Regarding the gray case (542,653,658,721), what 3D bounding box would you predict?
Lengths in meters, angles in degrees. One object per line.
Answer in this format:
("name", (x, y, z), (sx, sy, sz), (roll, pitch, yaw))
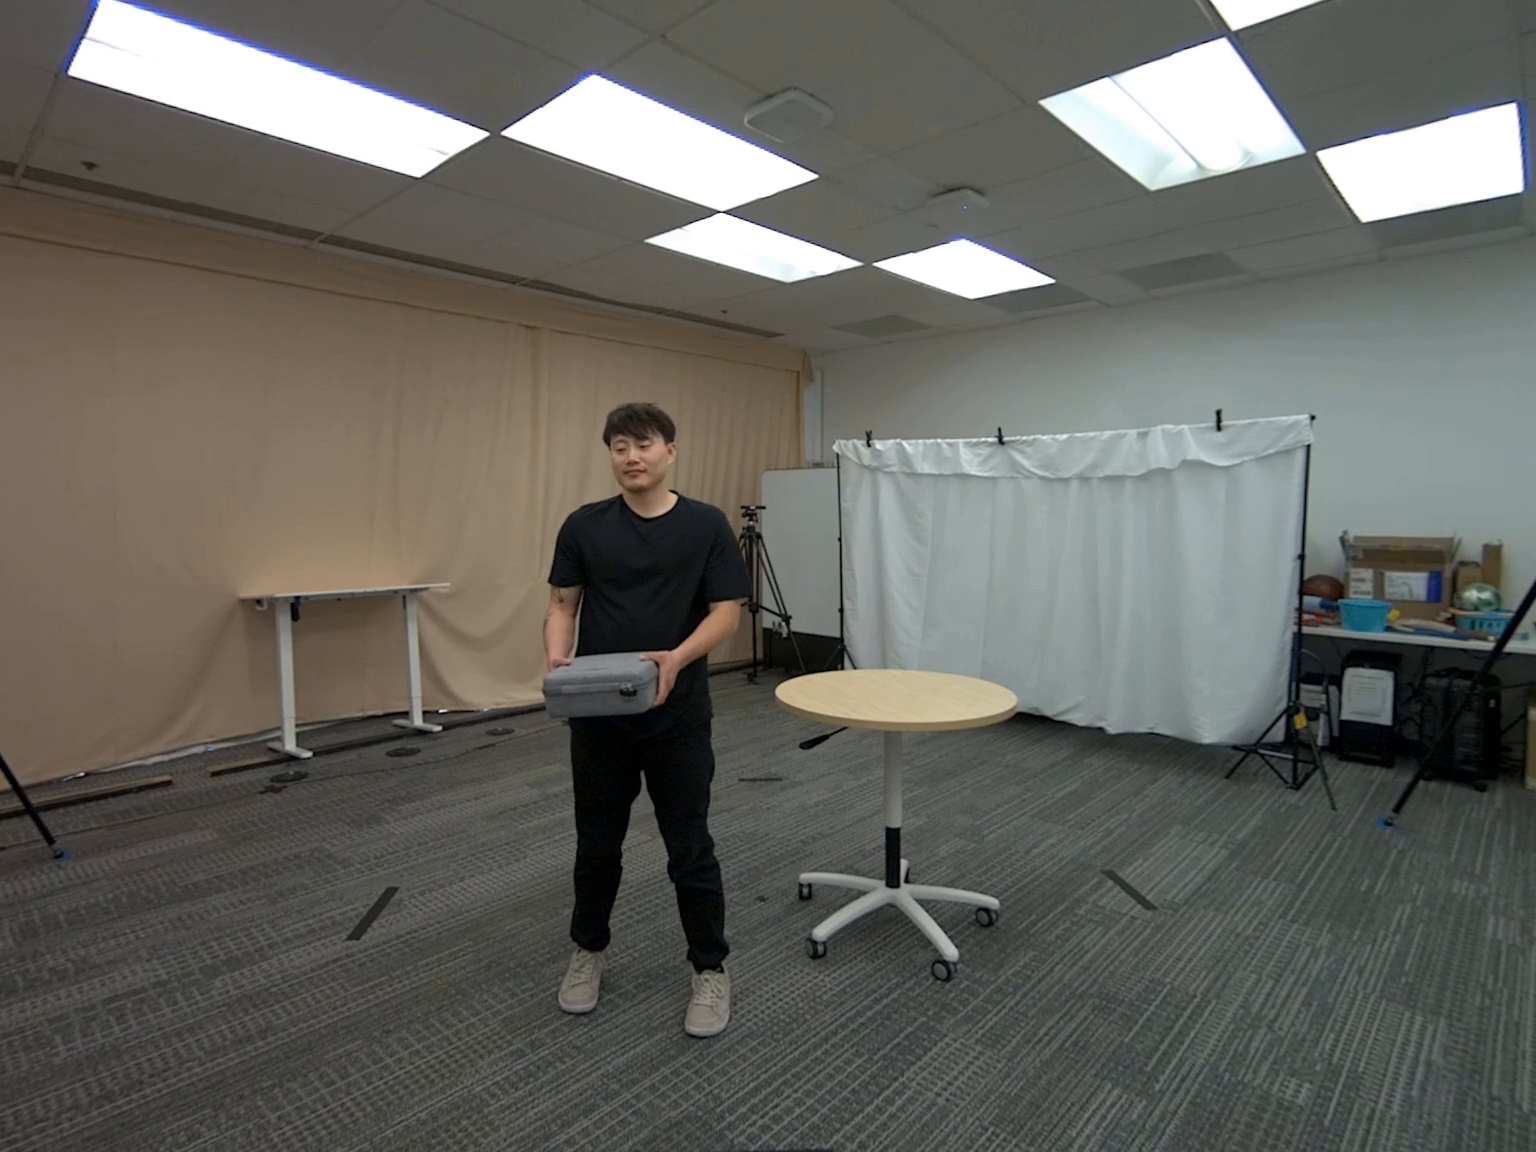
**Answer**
("gray case", (-0.387, 0.265, 2.060), (0.259, 0.104, 0.259), (-6, 4, 6))
